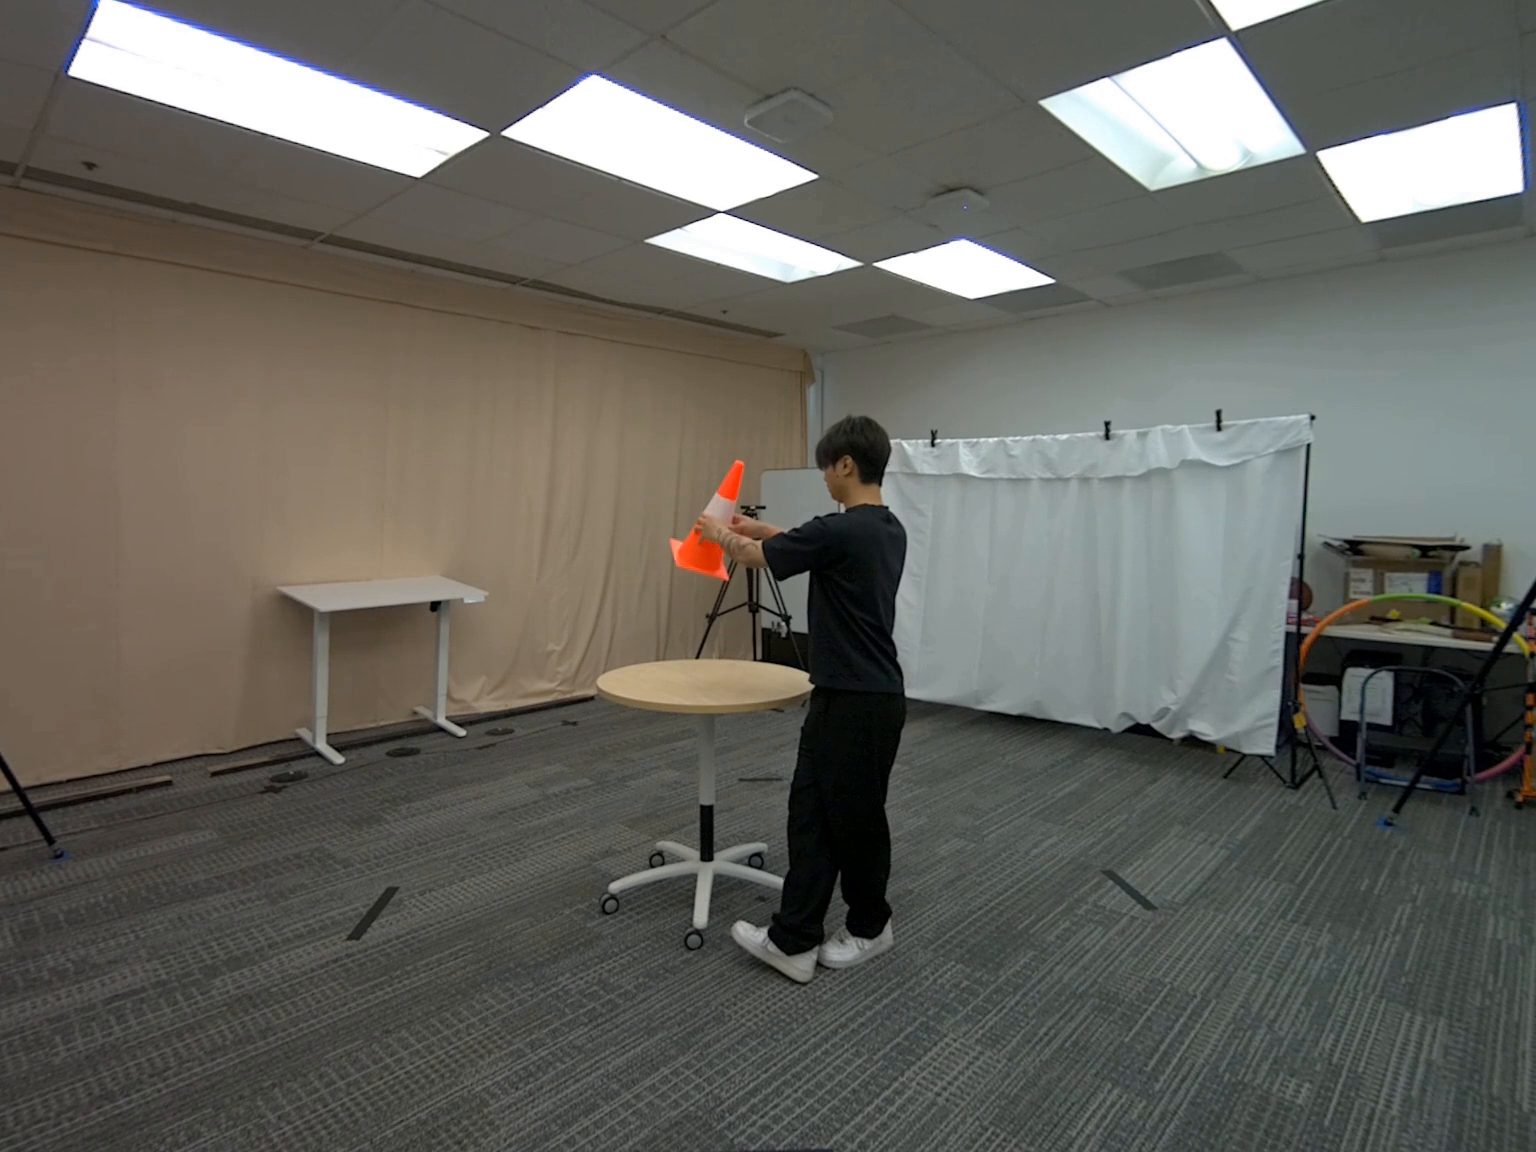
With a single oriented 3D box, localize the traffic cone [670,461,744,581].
[{"bbox_3d":[-0.163,-0.211,2.866,0.198,0.382,0.211,14,23,-25],"label":"traffic cone"}]
